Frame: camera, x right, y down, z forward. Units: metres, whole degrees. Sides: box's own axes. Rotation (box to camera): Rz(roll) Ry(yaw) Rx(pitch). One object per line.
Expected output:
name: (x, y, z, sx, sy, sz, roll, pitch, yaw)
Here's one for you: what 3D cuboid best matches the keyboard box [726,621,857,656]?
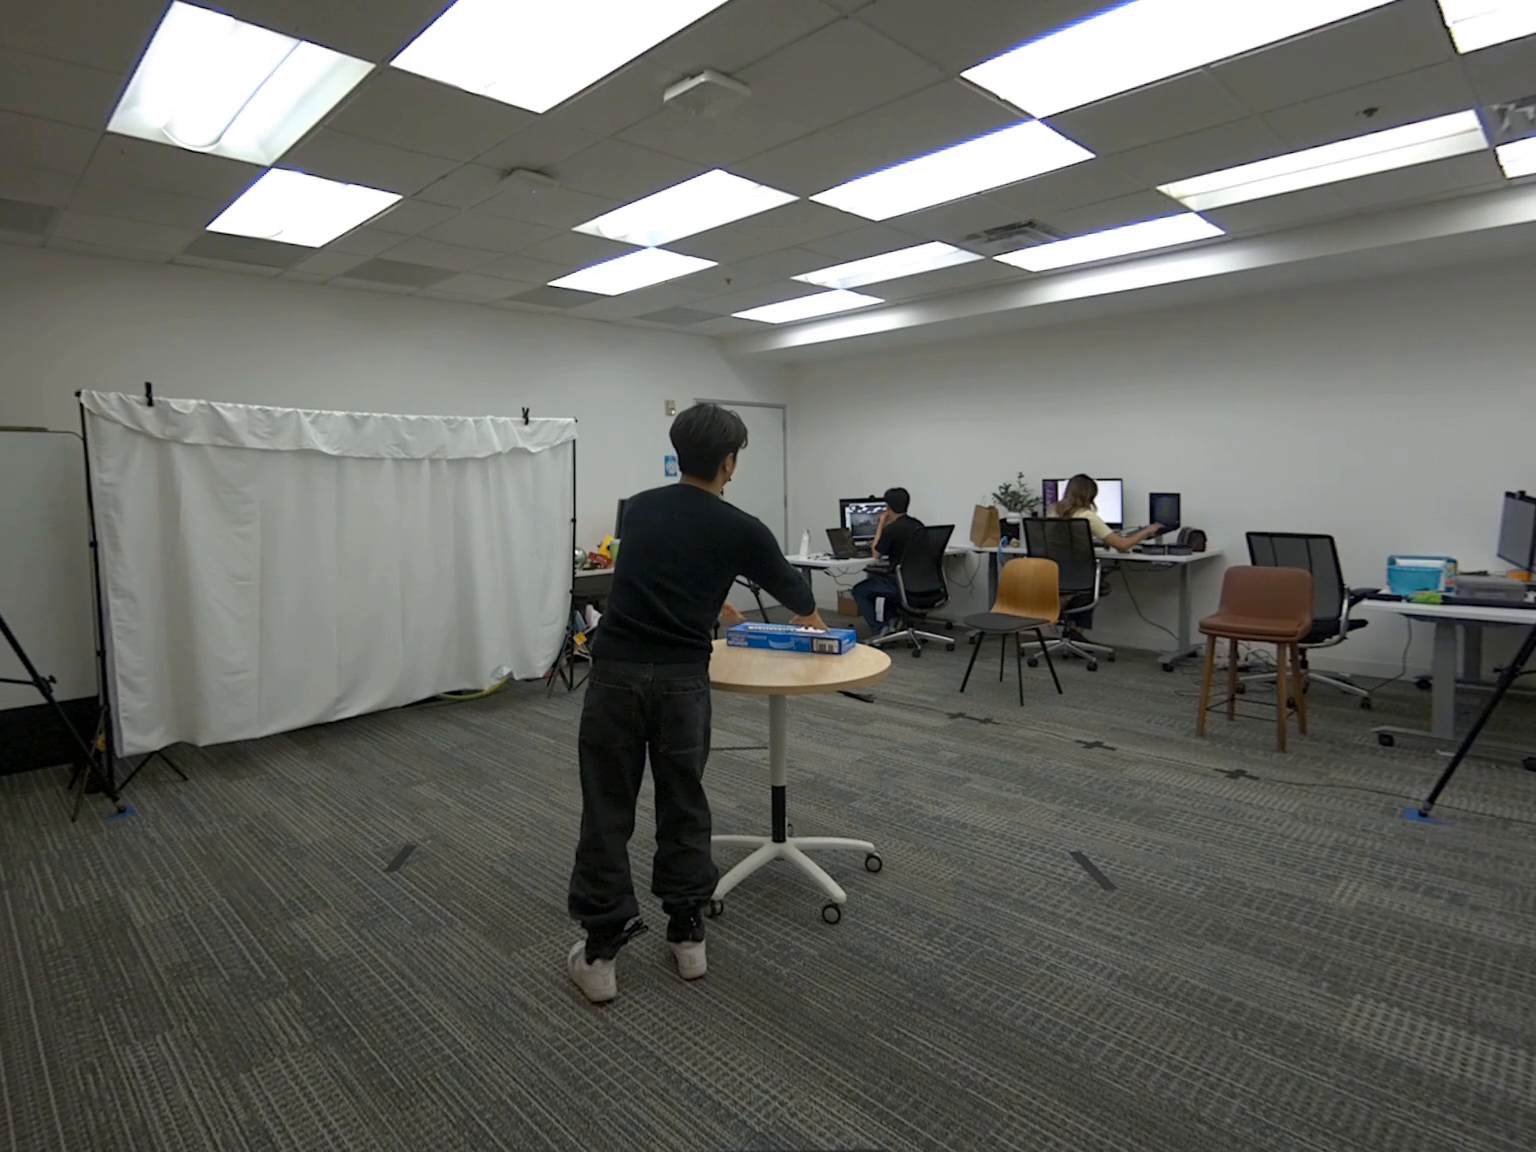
keyboard box: (0.090, 0.227, 3.109, 0.447, 0.059, 0.173, 3, 7, 25)
